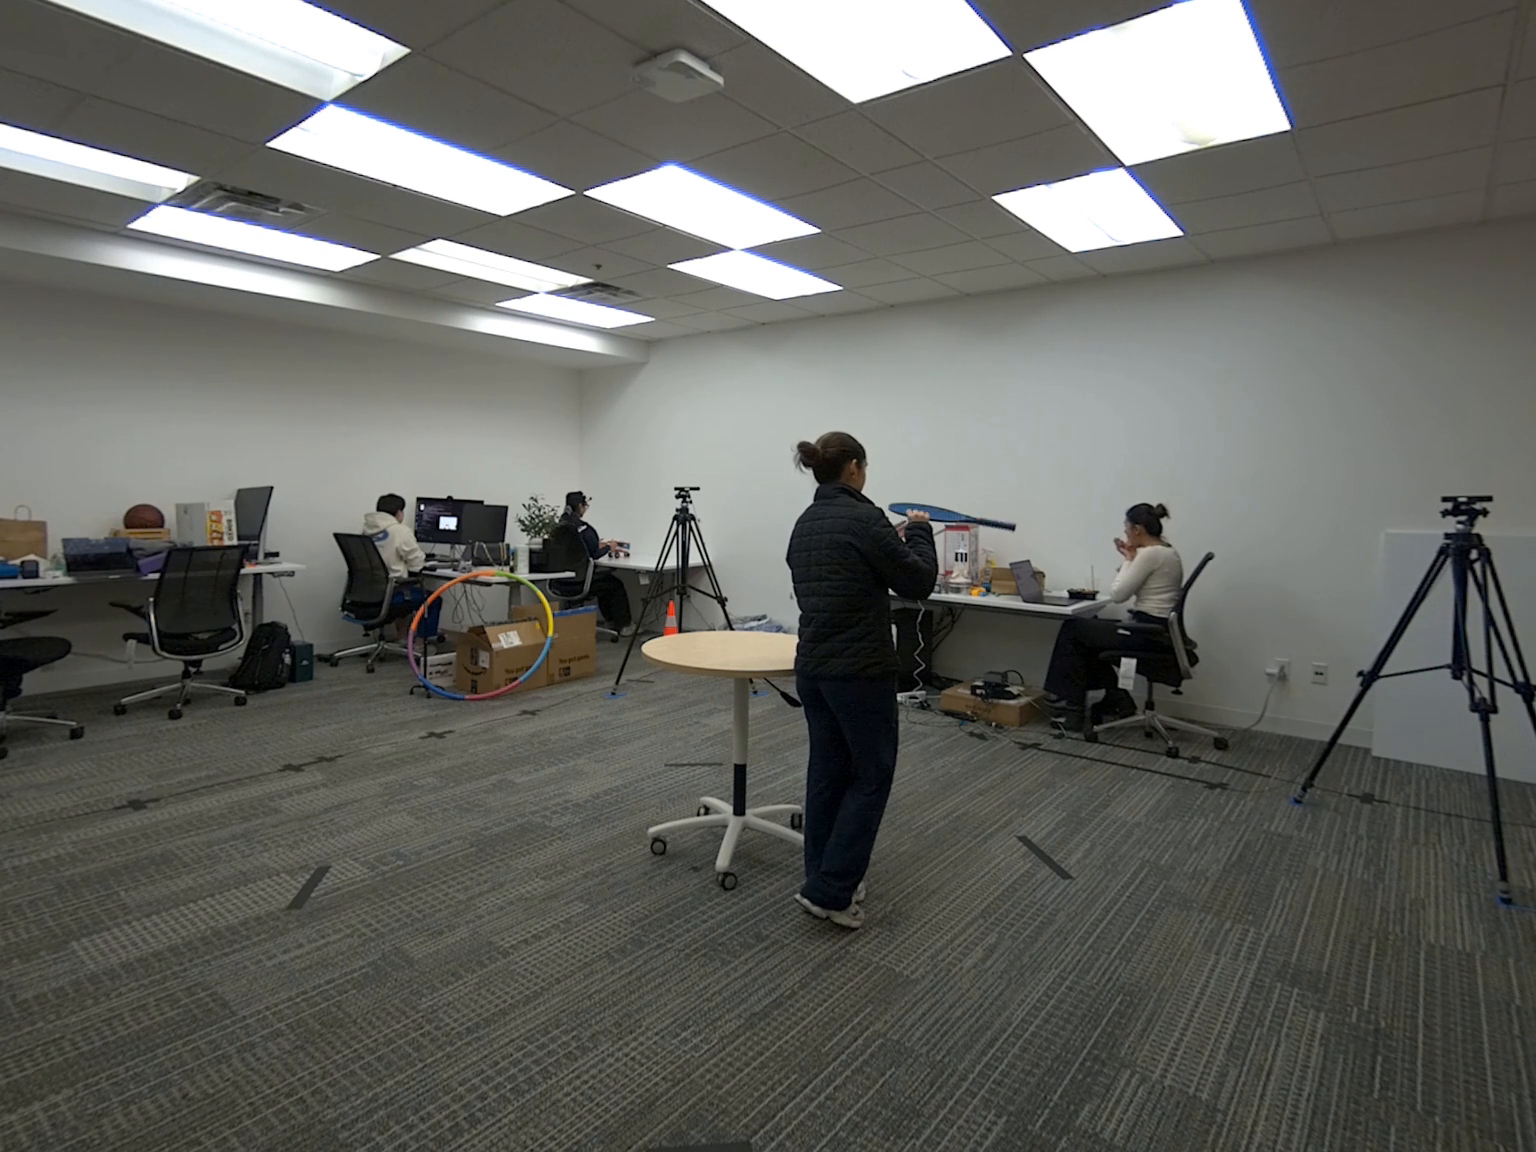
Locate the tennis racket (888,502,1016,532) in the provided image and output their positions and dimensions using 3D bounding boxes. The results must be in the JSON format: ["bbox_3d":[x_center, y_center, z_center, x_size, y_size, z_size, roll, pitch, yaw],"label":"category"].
[{"bbox_3d":[0.643,-0.210,2.954,0.437,0.031,0.214,10,19,8],"label":"tennis racket"}]
